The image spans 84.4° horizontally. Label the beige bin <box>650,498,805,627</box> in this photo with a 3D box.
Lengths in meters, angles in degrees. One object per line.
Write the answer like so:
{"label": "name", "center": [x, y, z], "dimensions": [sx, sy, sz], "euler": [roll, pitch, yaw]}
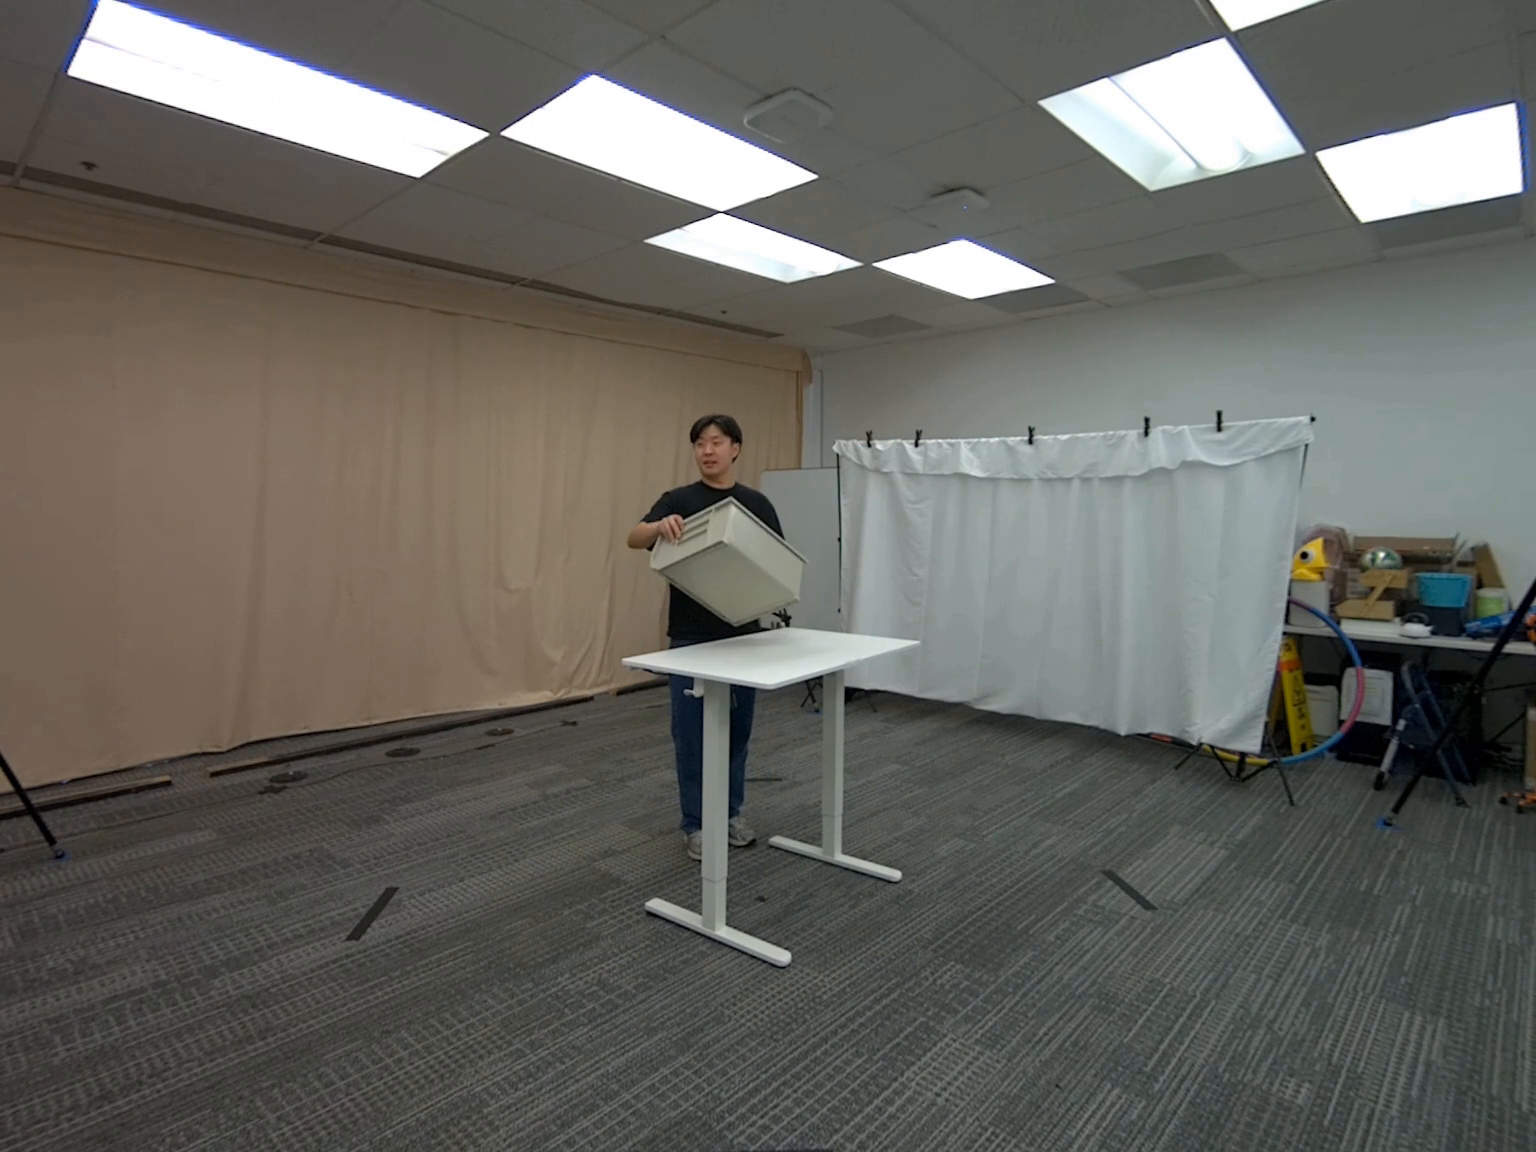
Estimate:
{"label": "beige bin", "center": [-0.134, -0.026, 2.998], "dimensions": [0.385, 0.191, 0.408], "euler": [-22, -47, 37]}
